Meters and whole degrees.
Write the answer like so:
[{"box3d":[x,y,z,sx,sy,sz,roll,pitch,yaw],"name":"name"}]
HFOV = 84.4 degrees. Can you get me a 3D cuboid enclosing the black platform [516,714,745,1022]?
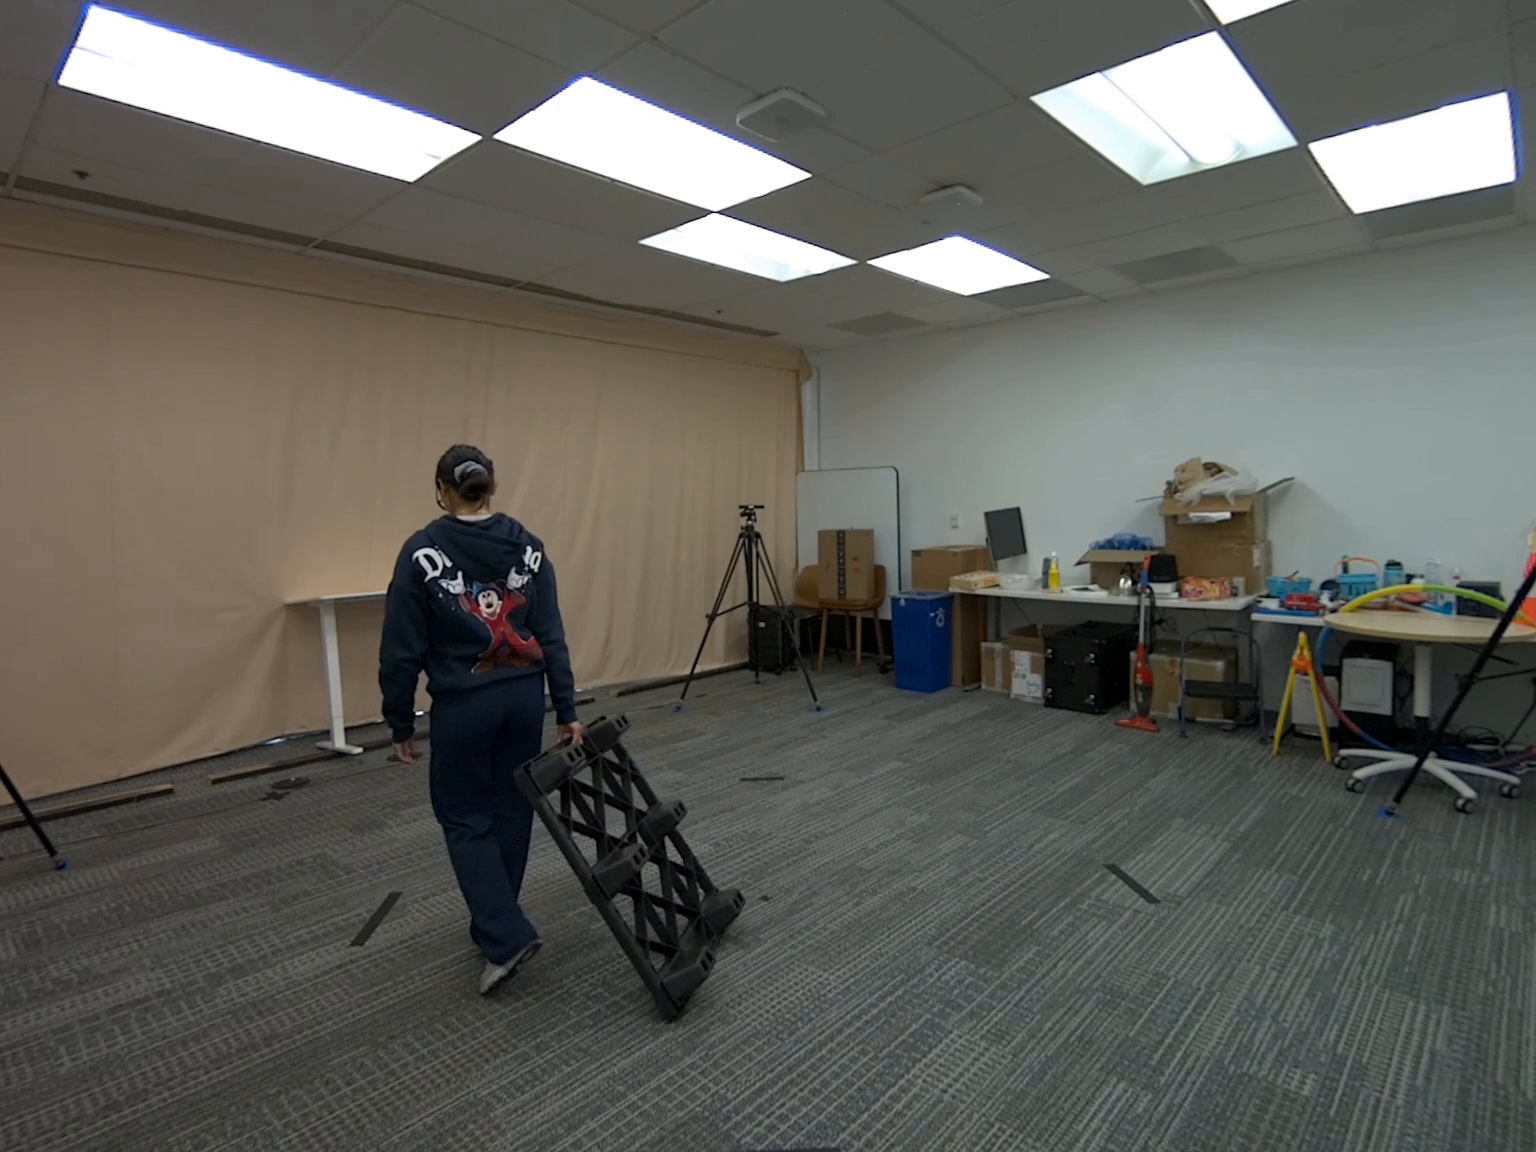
[{"box3d":[-0.374,0.824,2.580,0.144,0.811,0.597,-36,-5,14],"name":"black platform"}]
